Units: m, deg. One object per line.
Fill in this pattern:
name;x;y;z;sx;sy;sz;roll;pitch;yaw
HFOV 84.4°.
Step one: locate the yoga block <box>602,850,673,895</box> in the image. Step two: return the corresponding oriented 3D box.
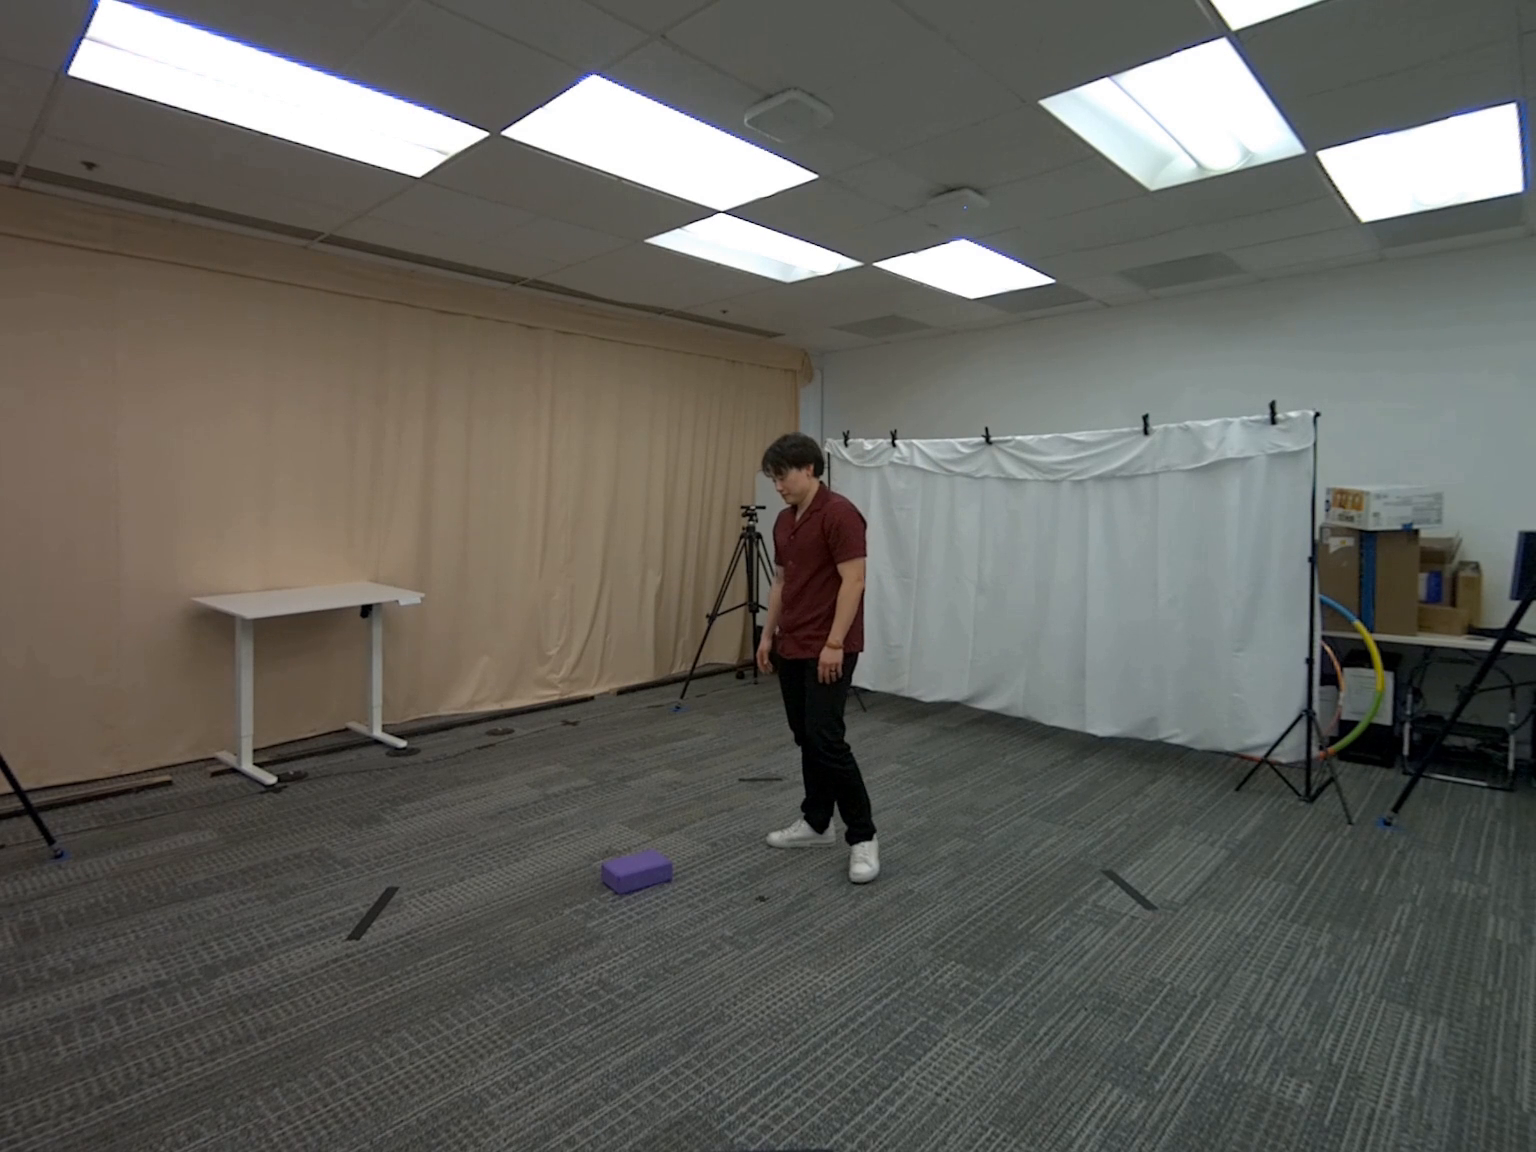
yoga block;-0.487;1.096;3.126;0.223;0.076;0.154;-4;5;-34
